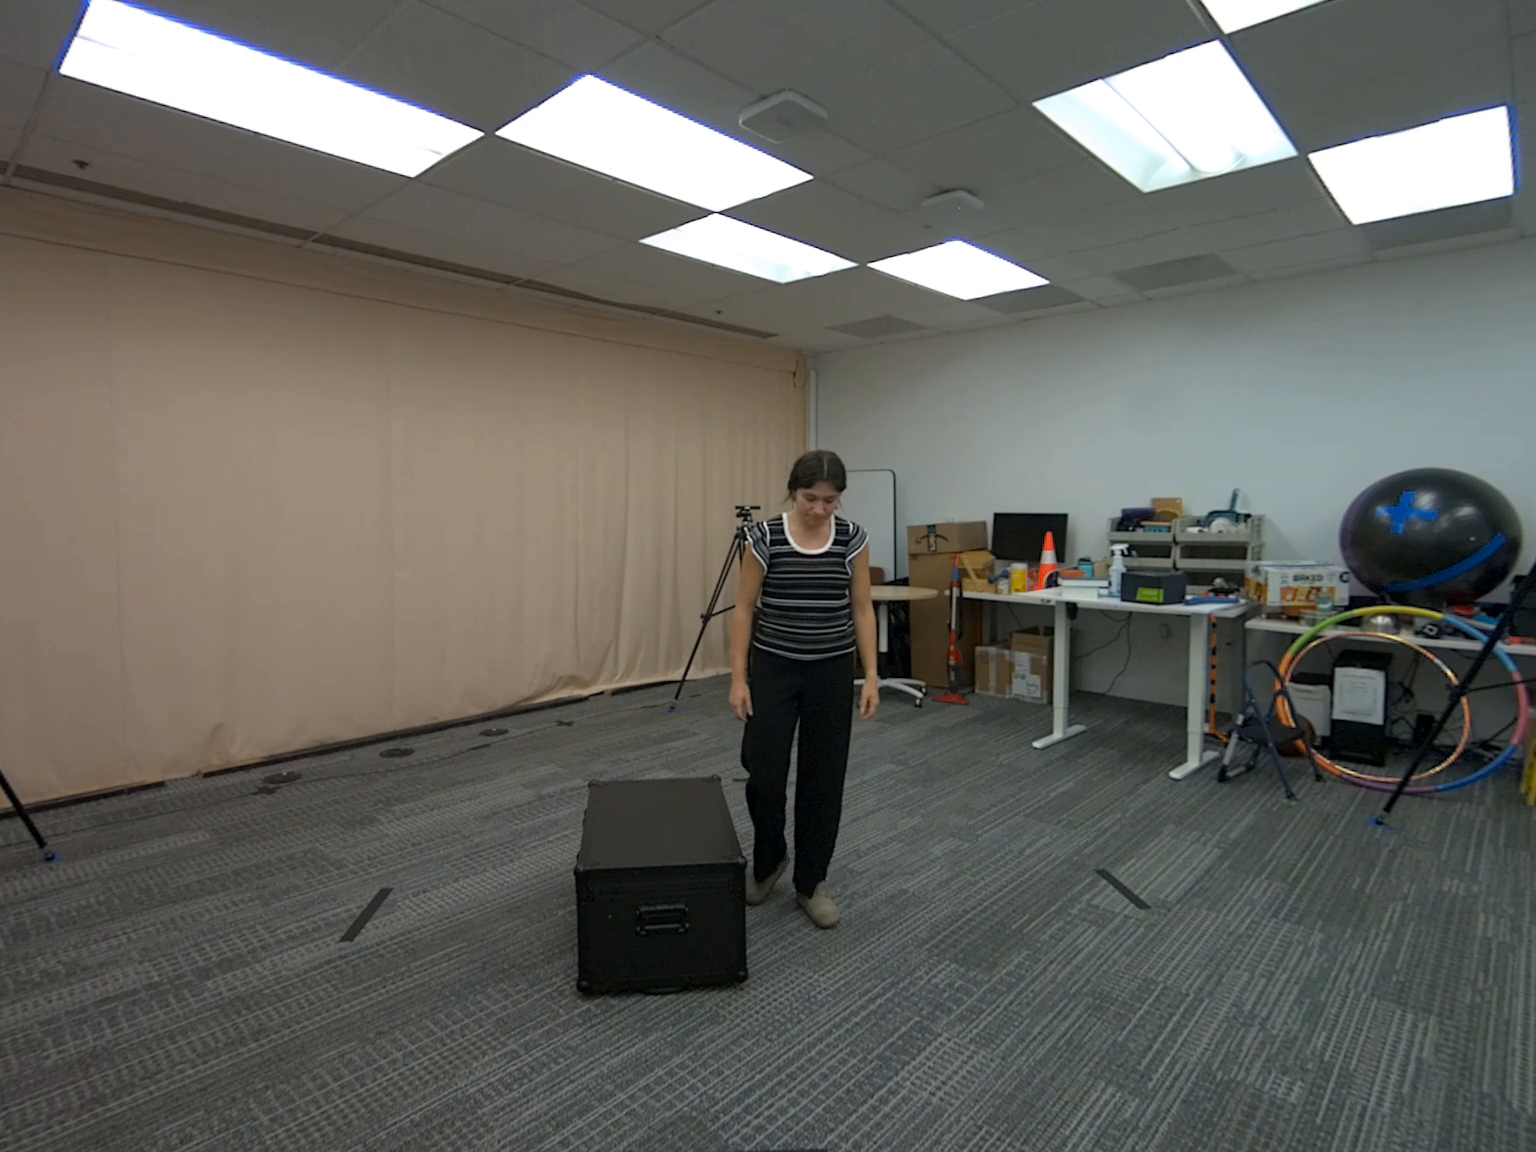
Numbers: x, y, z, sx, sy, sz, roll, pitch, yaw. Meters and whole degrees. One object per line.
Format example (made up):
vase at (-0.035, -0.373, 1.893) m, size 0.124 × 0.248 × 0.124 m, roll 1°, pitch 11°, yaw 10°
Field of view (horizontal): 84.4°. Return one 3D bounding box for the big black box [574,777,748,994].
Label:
big black box at (-0.360, 0.969, 2.802) m, size 0.517 × 0.395 × 0.870 m, roll 0°, pitch 5°, yaw -9°
